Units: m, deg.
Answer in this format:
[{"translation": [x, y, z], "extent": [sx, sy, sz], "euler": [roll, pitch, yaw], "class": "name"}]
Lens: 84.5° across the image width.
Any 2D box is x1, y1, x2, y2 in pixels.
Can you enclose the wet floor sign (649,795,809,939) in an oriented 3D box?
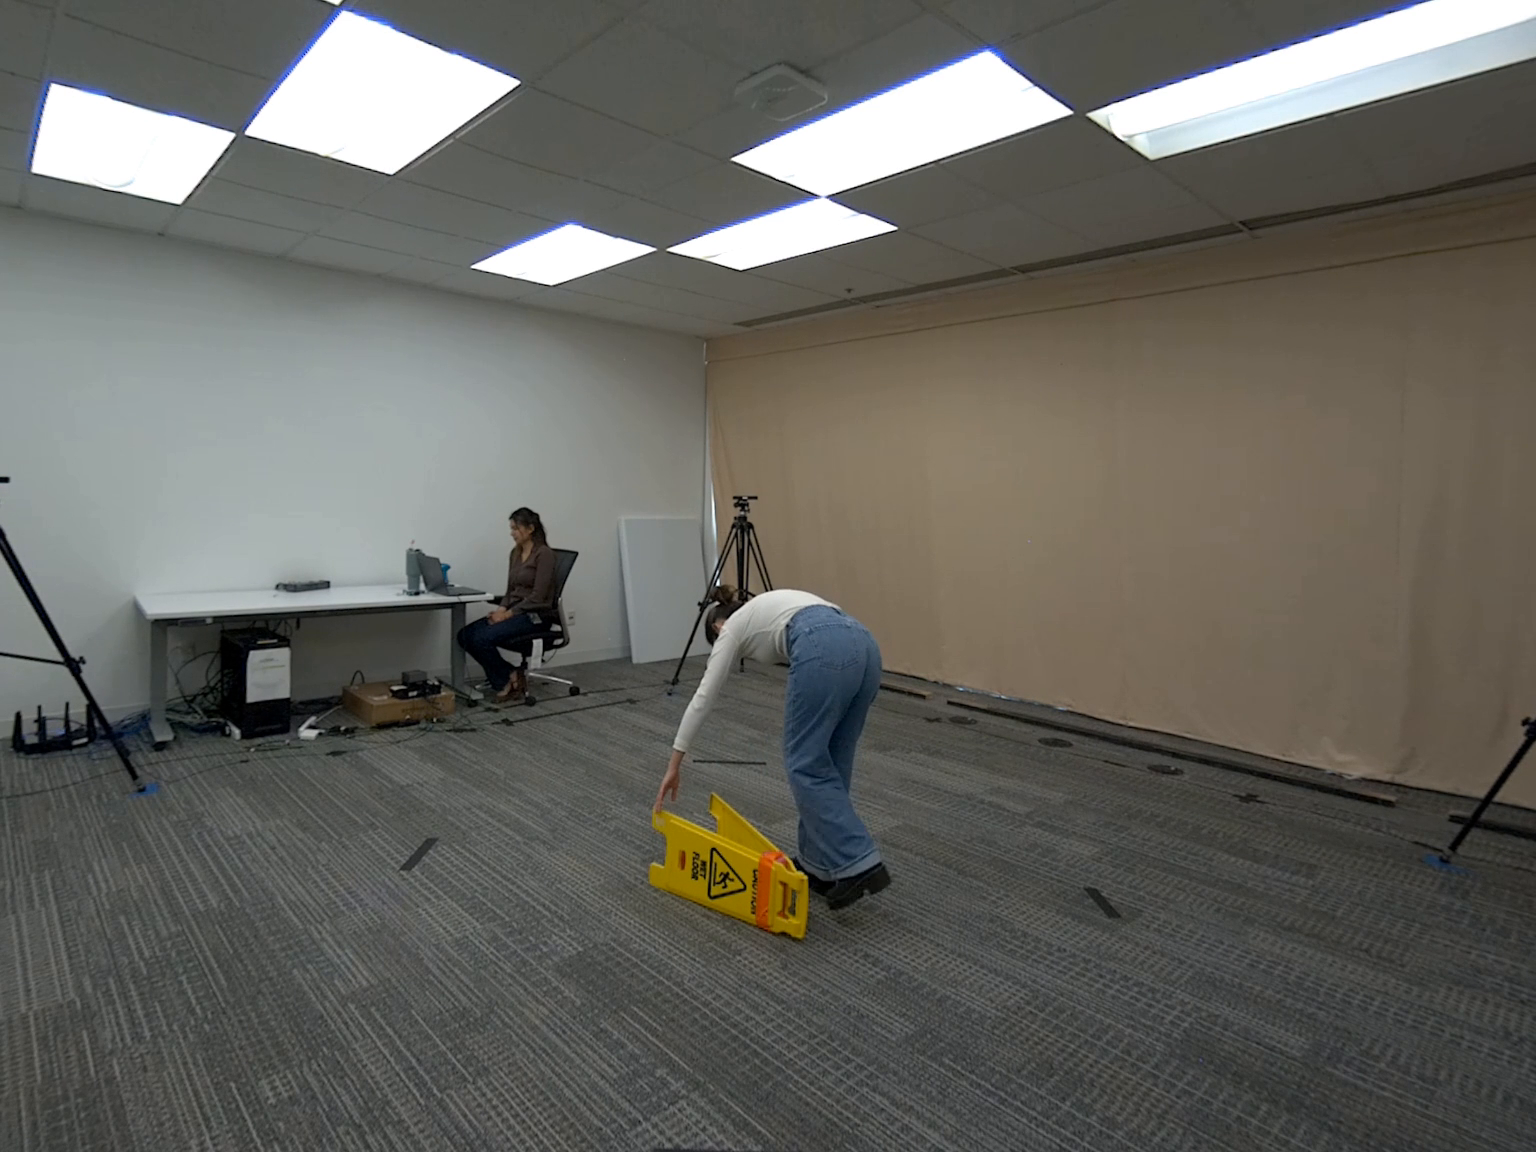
[{"translation": [-0.107, 0.995, 2.858], "extent": [0.283, 0.281, 0.663], "euler": [-2, 7, -41], "class": "wet floor sign"}]
